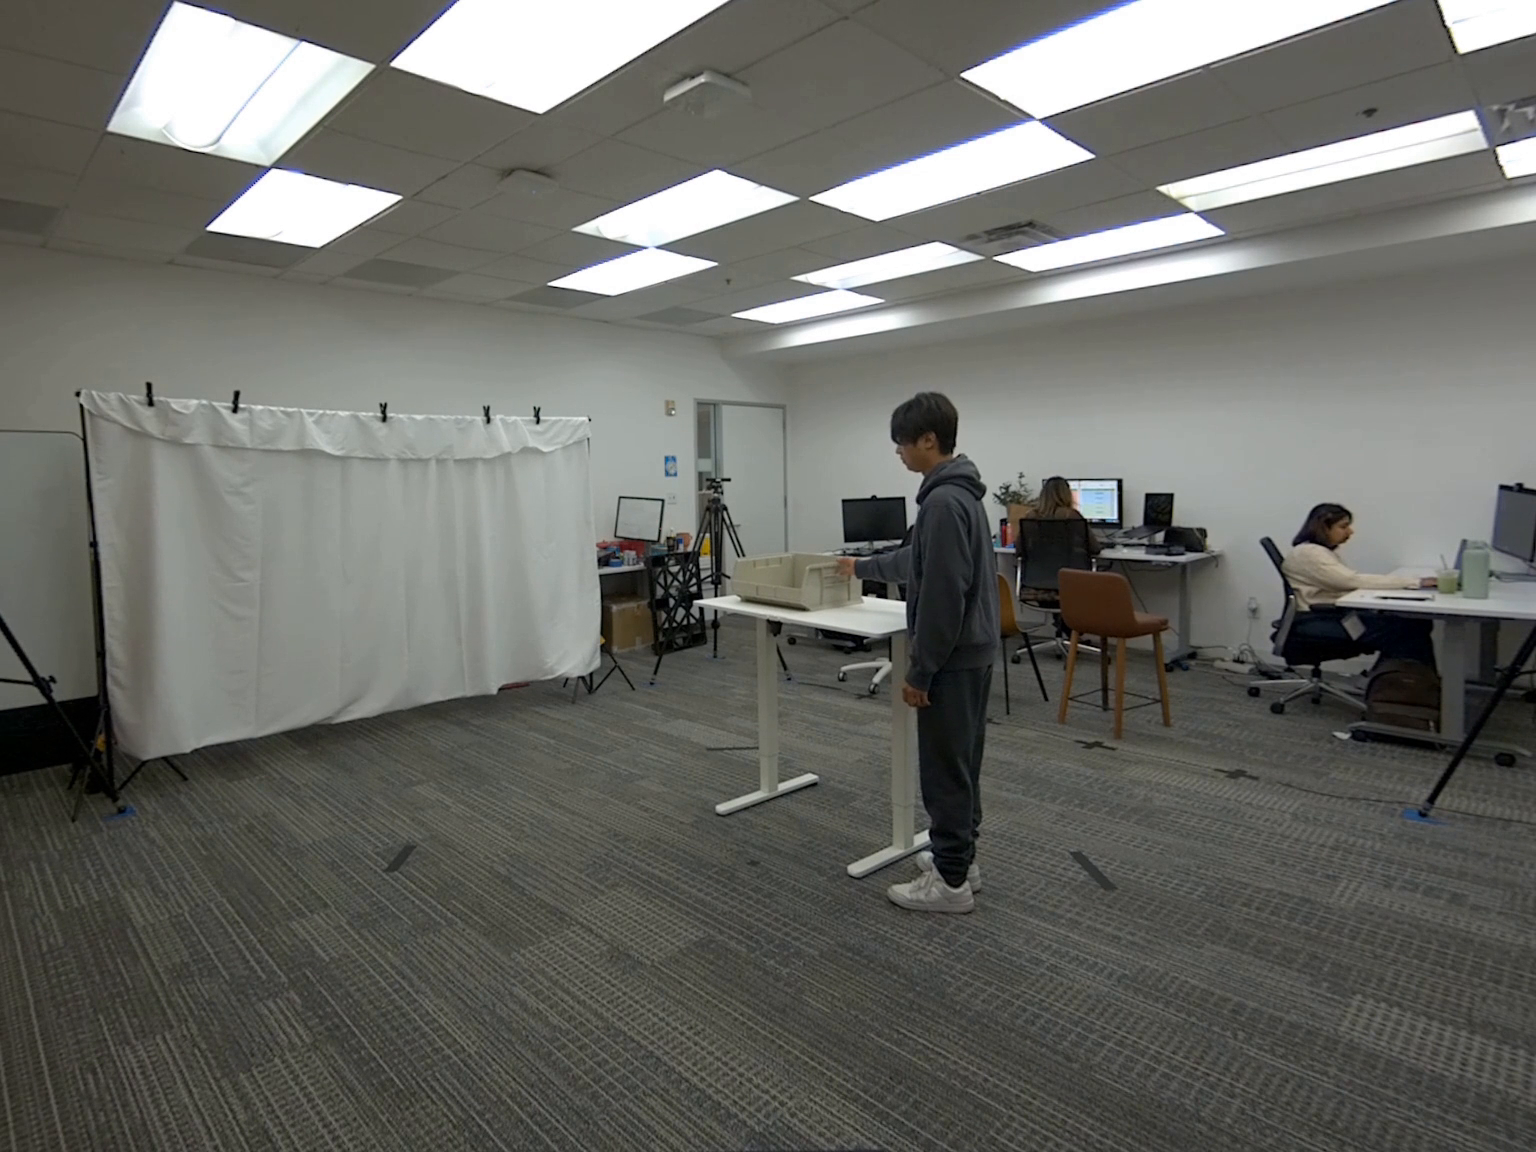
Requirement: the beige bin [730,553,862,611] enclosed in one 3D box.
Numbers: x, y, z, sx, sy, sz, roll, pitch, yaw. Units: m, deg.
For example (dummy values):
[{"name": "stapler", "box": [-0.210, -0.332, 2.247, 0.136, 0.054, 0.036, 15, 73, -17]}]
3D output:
[{"name": "beige bin", "box": [0.123, 0.021, 3.508, 0.367, 0.188, 0.435, -6, 8, -42]}]
